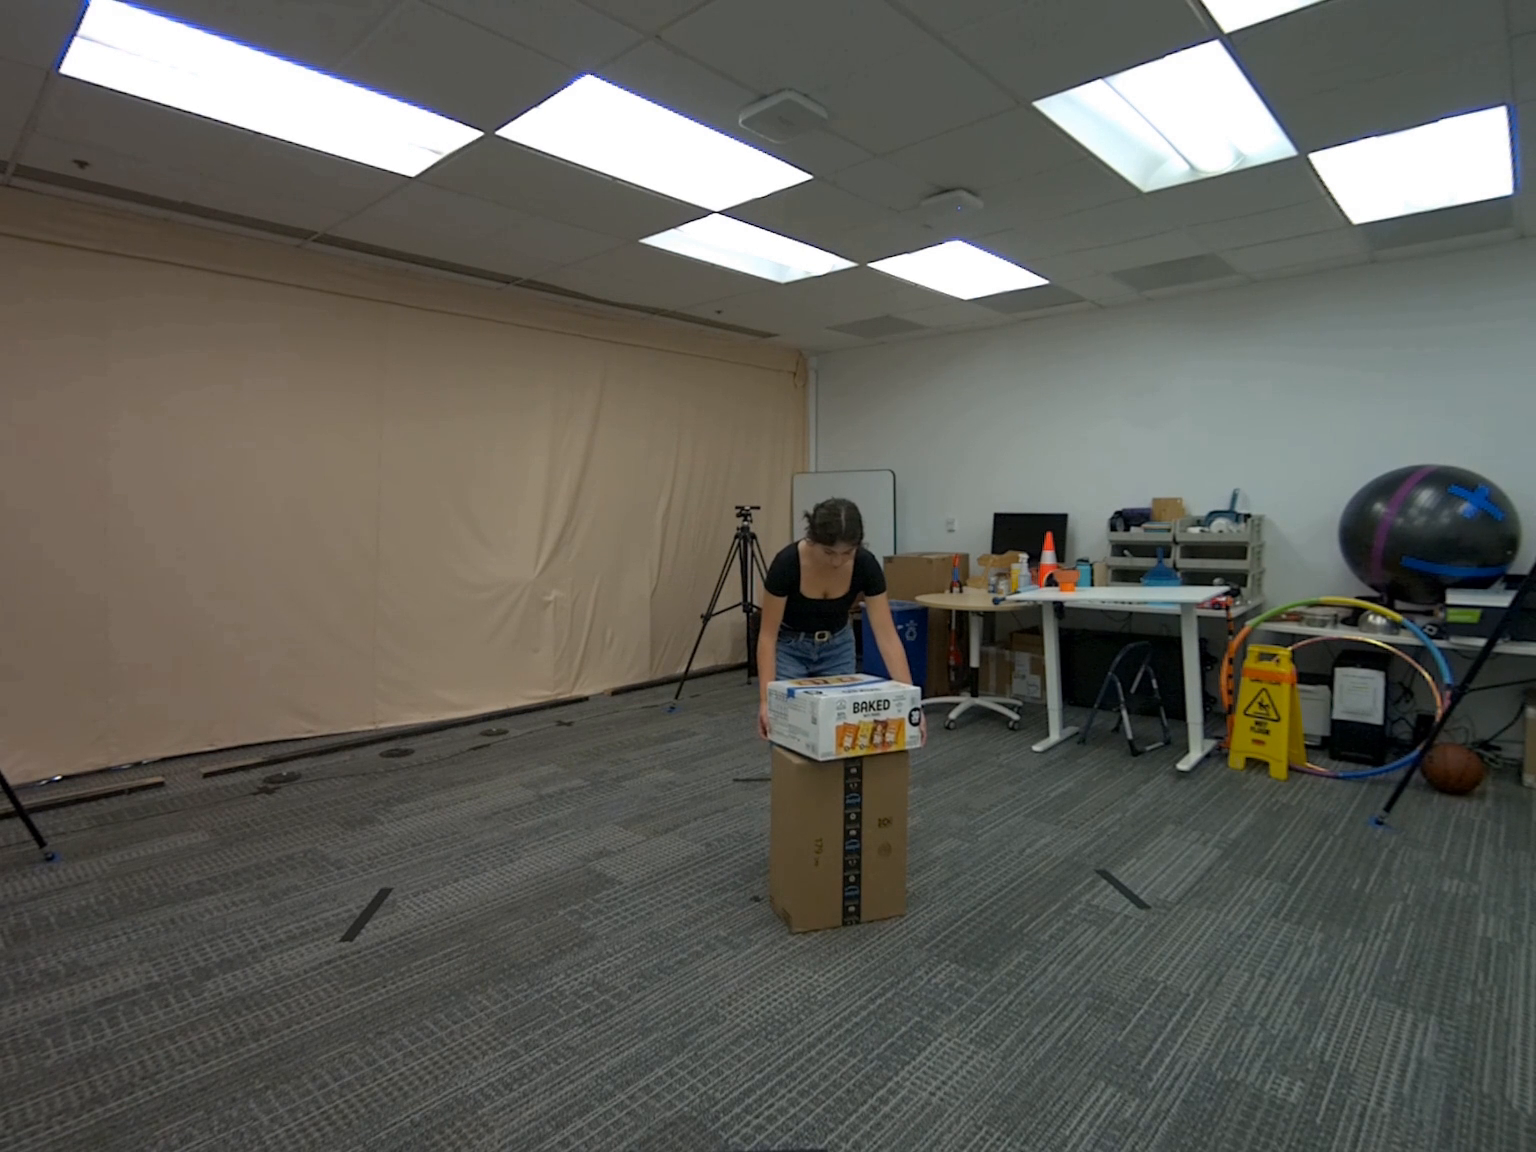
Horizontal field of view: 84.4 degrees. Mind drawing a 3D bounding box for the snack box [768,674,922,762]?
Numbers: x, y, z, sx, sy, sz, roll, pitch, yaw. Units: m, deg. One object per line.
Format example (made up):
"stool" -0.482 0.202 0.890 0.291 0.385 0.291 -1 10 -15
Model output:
"snack box" 0.253 0.469 2.878 0.395 0.205 0.349 -2 3 -27
